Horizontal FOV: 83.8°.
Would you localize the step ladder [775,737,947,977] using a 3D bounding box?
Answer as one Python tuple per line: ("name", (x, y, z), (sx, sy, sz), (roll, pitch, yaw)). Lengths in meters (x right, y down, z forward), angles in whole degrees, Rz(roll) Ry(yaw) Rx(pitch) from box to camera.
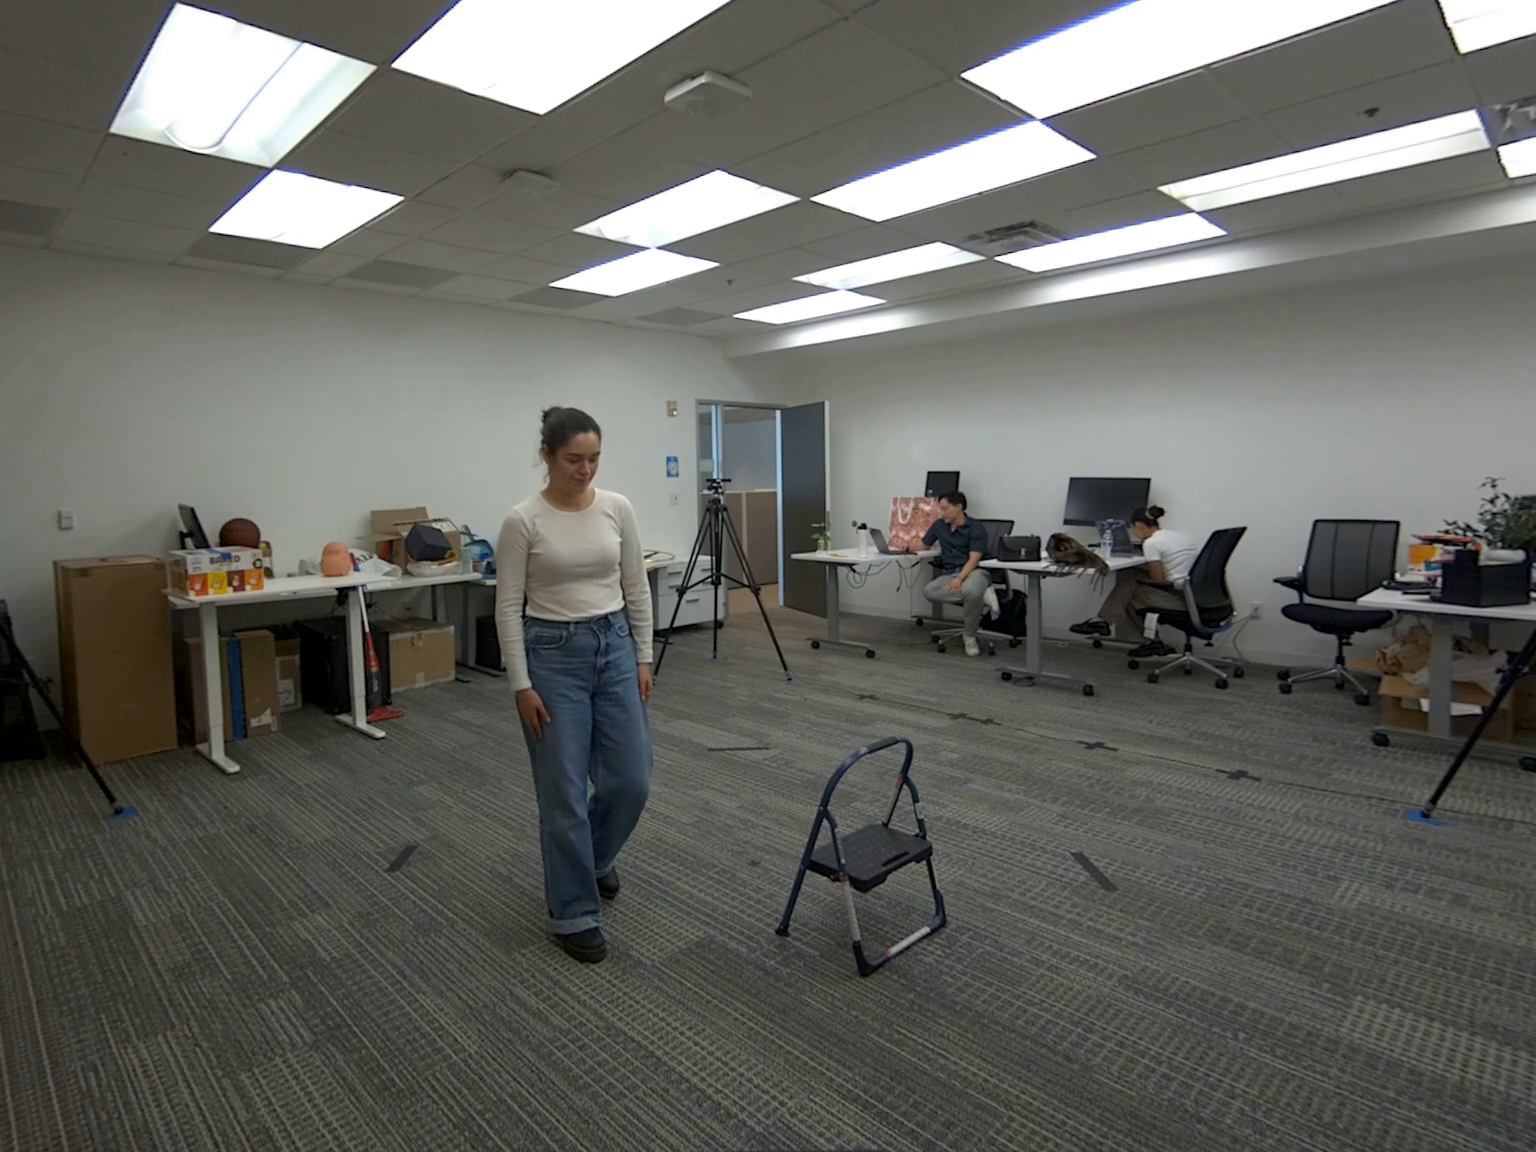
("step ladder", (0.293, 0.792, 2.627), (0.419, 0.604, 0.360), (-5, 6, -44))
